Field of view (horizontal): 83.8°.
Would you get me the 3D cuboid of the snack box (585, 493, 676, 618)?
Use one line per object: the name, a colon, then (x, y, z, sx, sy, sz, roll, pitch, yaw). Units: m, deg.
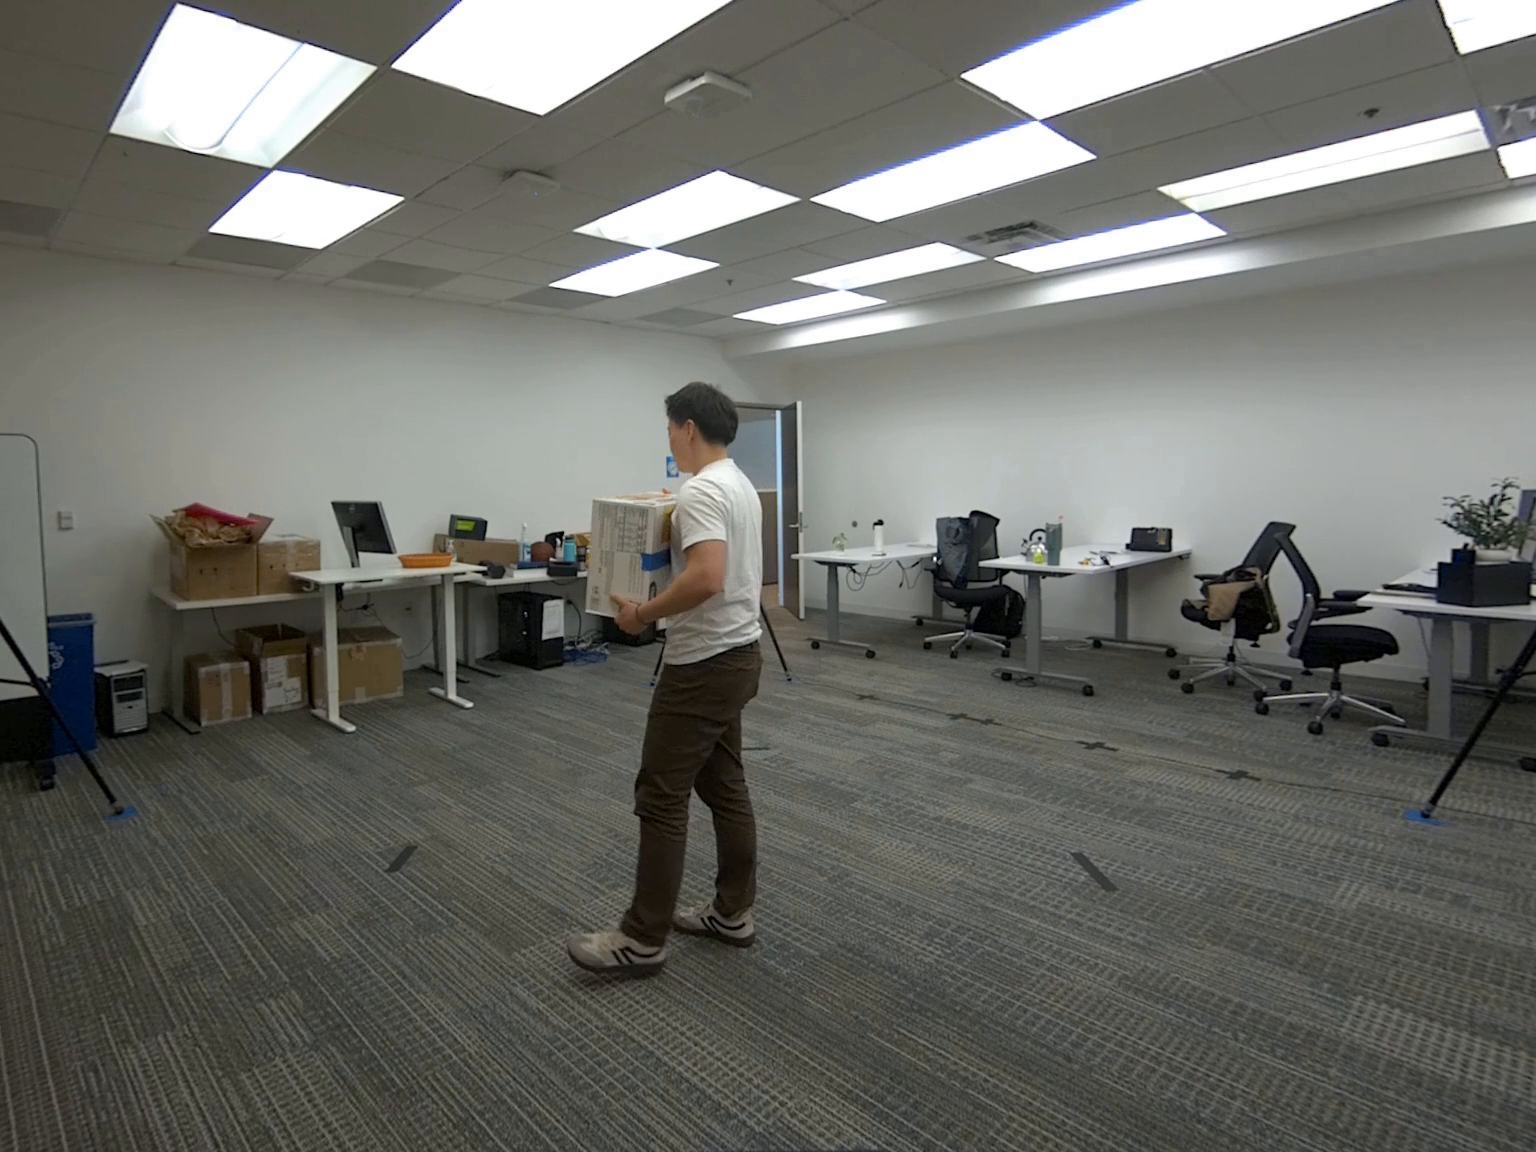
snack box: (-0.367, -0.075, 2.645, 0.209, 0.338, 0.401, 6, 9, 16)
